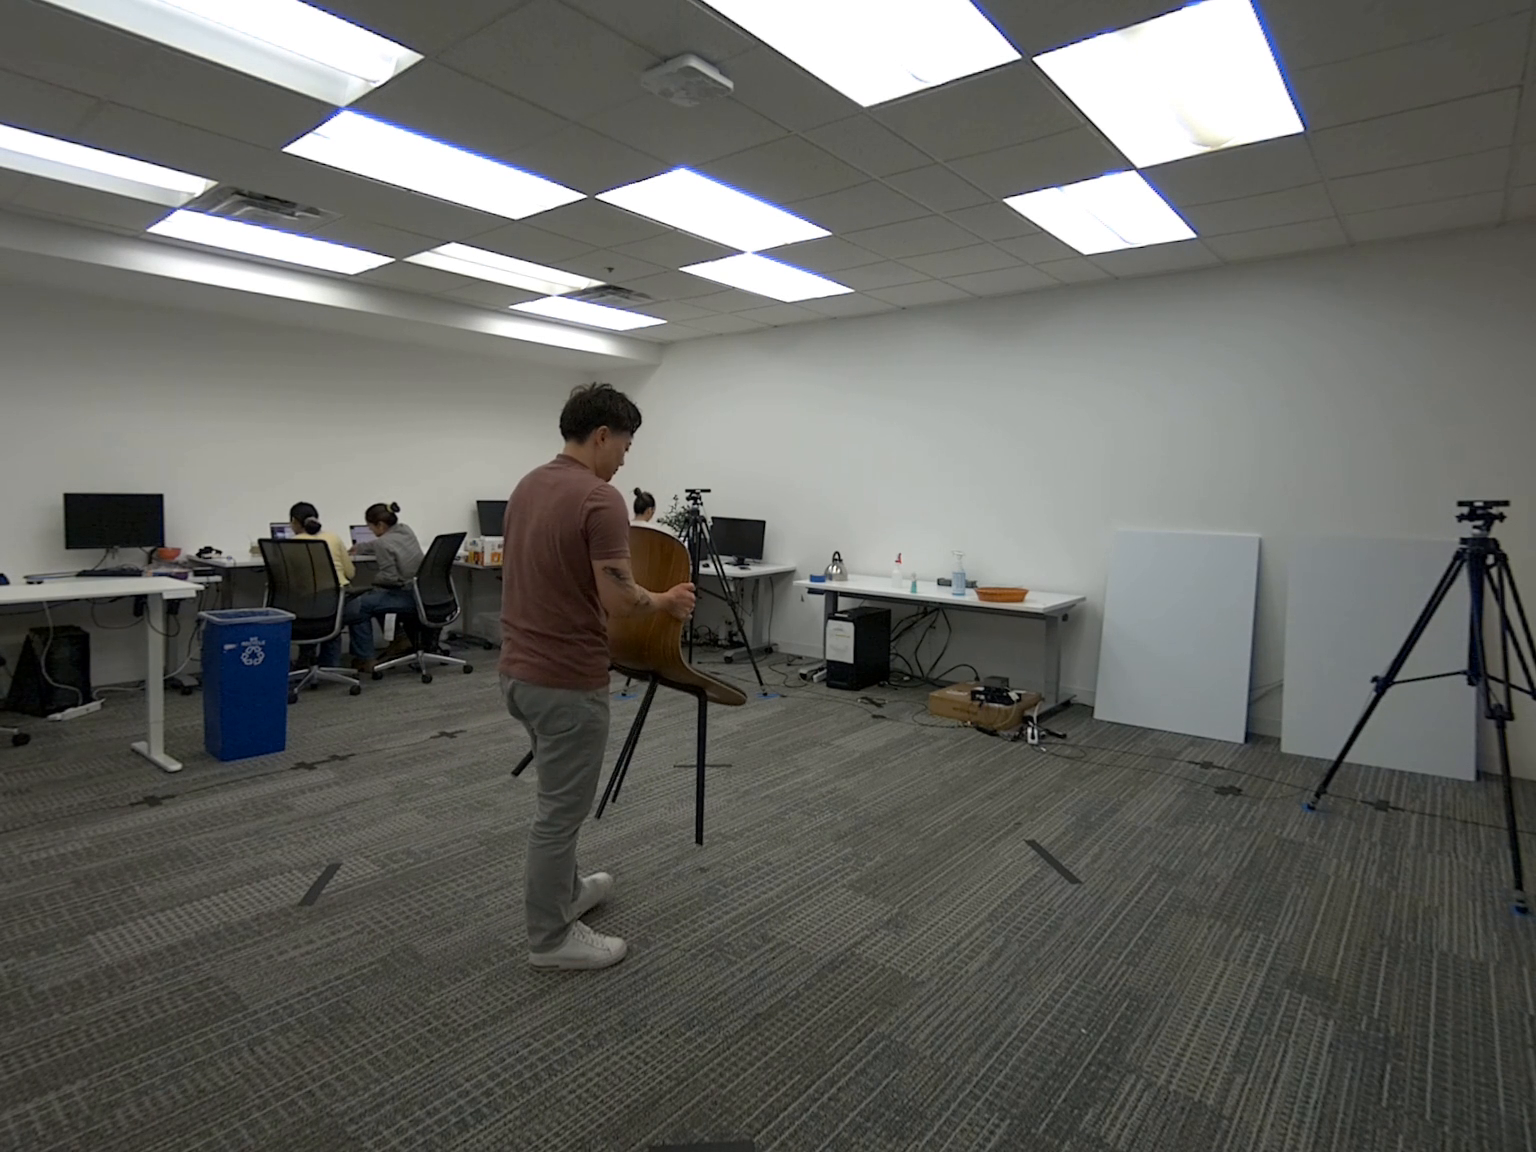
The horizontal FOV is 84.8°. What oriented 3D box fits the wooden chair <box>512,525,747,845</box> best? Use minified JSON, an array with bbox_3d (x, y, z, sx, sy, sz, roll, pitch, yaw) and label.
[{"bbox_3d":[-0.369,0.335,2.747,0.495,0.883,0.502,5,-15,43],"label":"wooden chair"}]
